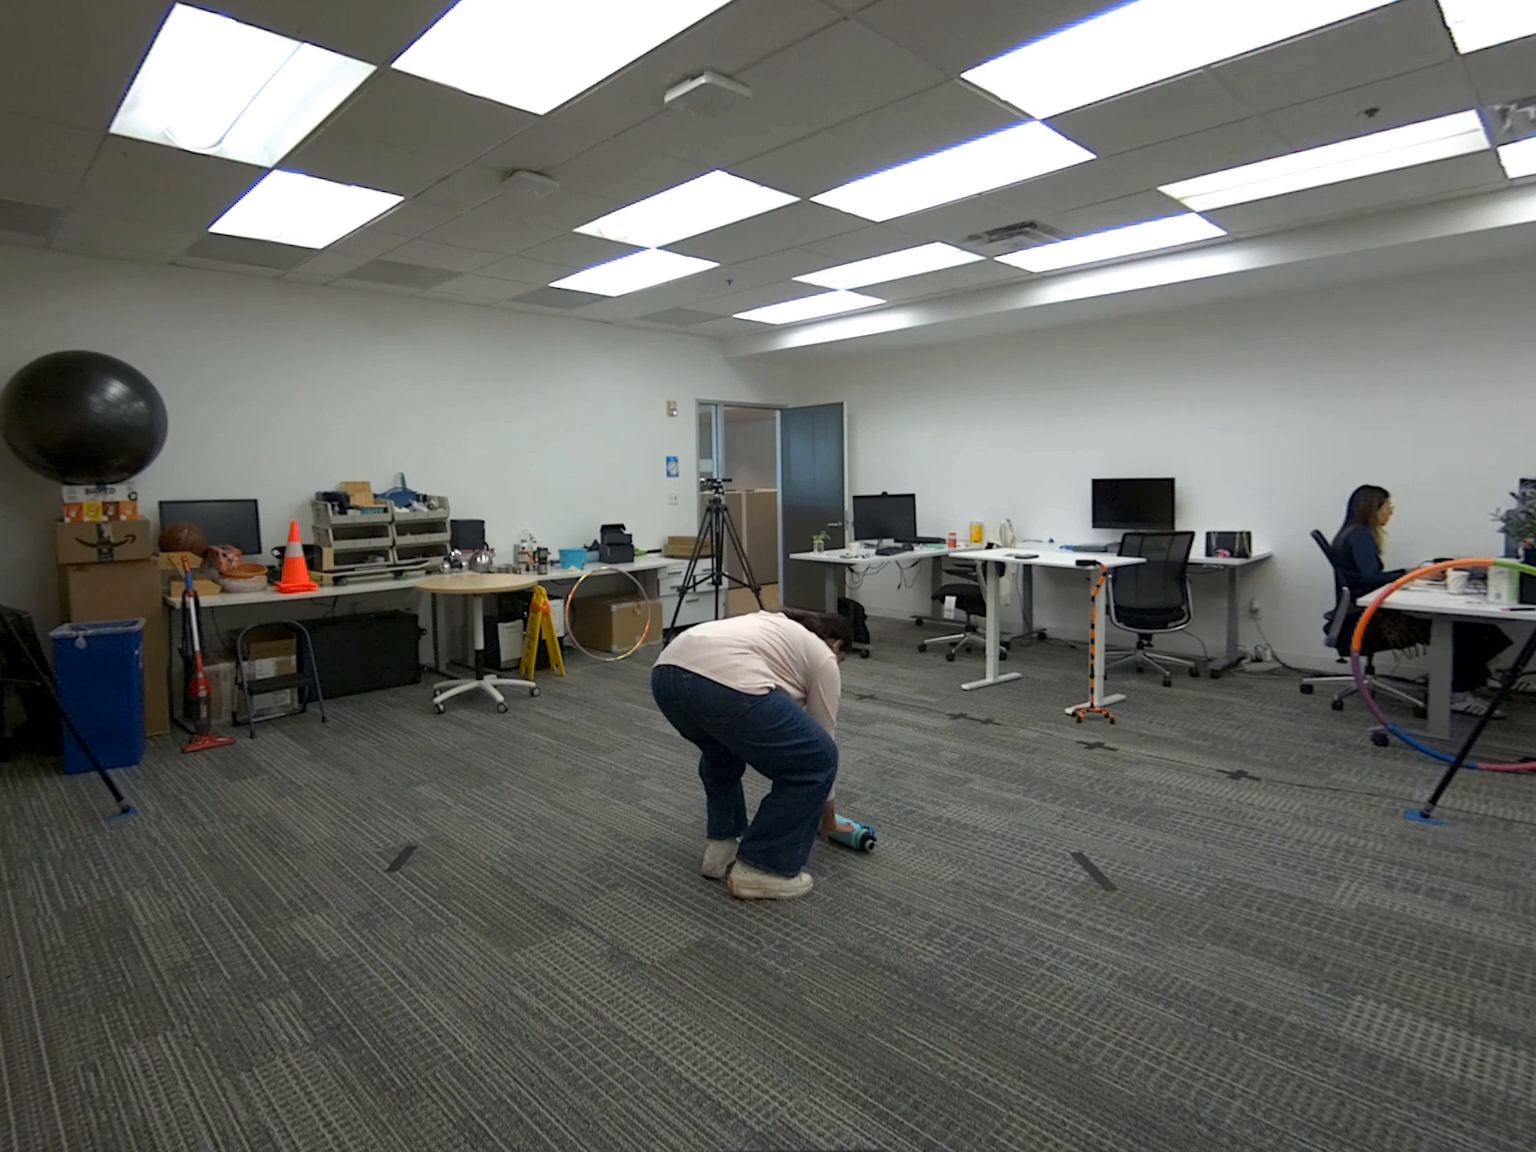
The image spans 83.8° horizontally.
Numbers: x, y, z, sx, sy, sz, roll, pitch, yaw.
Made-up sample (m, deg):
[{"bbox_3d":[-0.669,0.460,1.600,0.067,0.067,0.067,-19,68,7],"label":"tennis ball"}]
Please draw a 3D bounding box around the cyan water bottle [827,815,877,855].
[{"bbox_3d":[0.291,0.966,3.271,0.090,0.092,0.292,-5,7,-41],"label":"cyan water bottle"}]
